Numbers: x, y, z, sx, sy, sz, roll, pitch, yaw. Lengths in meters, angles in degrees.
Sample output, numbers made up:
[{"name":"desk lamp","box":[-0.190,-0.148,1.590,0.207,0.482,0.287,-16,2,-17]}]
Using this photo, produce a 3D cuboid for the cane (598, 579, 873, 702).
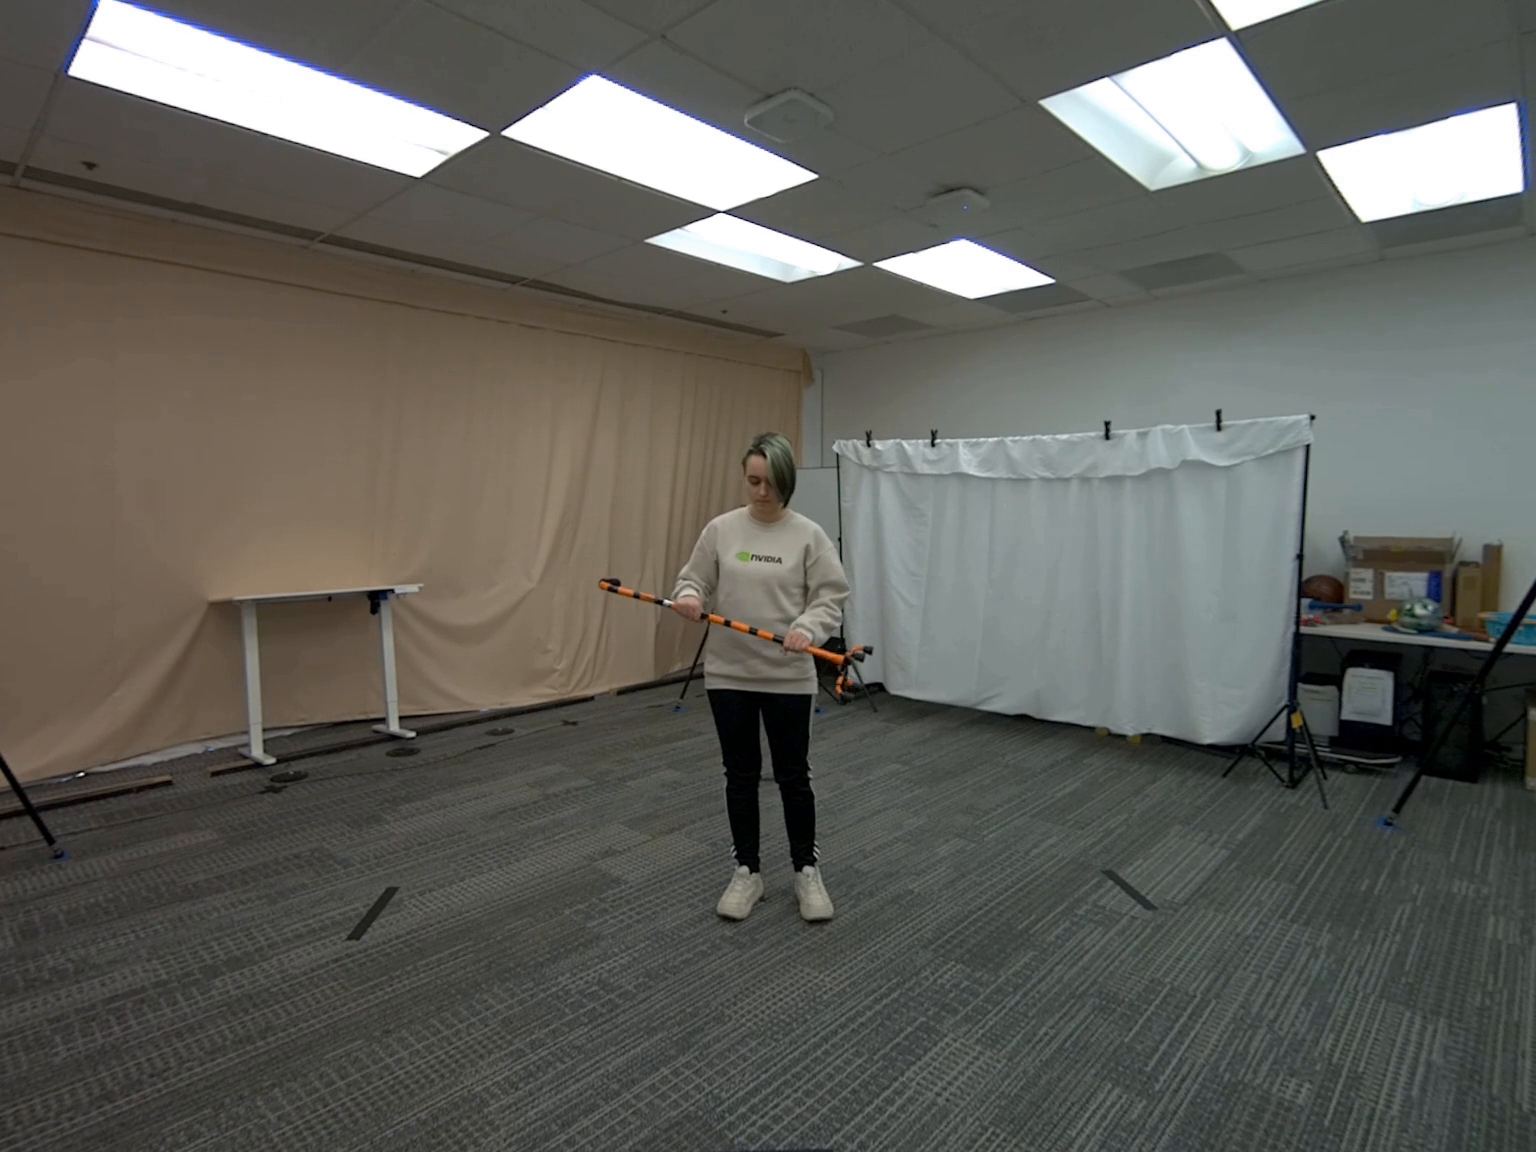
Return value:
[{"name":"cane","box":[-0.149,0.184,2.639,0.927,0.151,0.202,16,7,18]}]
